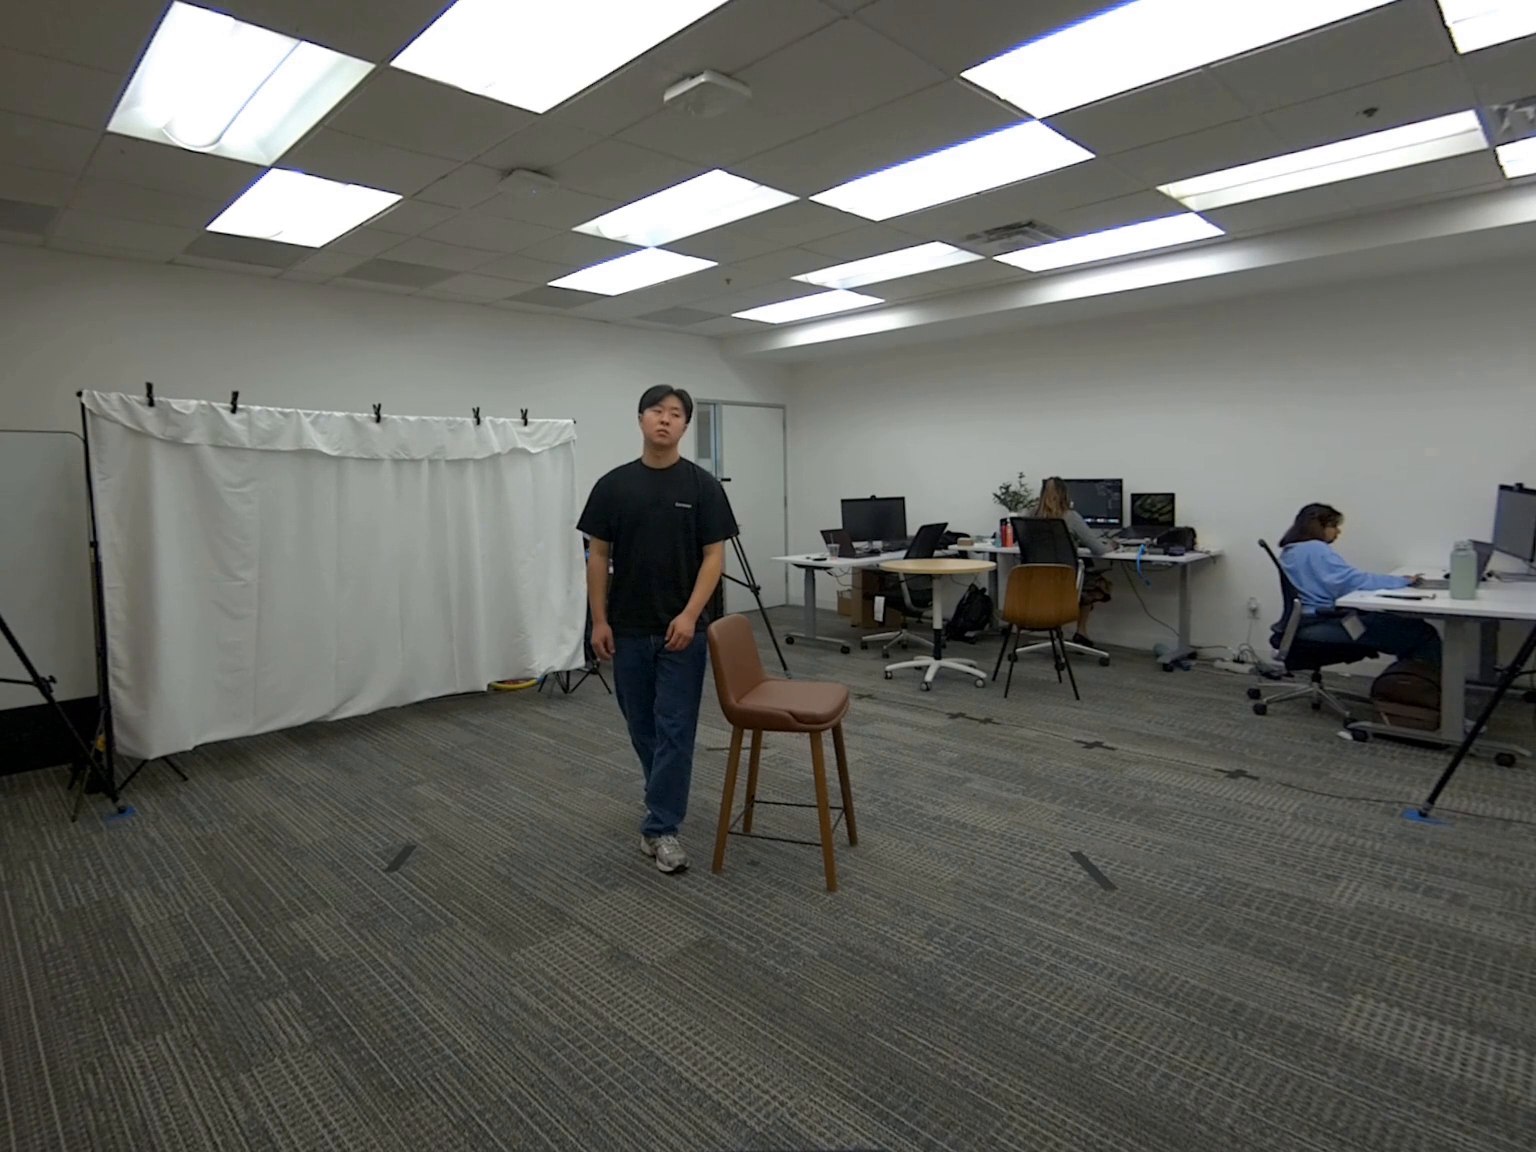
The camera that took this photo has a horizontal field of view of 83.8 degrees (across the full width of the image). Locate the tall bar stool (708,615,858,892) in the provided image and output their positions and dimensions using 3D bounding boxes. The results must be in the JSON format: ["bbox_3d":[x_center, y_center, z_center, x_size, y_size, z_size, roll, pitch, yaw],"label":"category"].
[{"bbox_3d":[0.059,0.604,3.115,0.476,0.887,0.449,-2,3,20],"label":"tall bar stool"}]
